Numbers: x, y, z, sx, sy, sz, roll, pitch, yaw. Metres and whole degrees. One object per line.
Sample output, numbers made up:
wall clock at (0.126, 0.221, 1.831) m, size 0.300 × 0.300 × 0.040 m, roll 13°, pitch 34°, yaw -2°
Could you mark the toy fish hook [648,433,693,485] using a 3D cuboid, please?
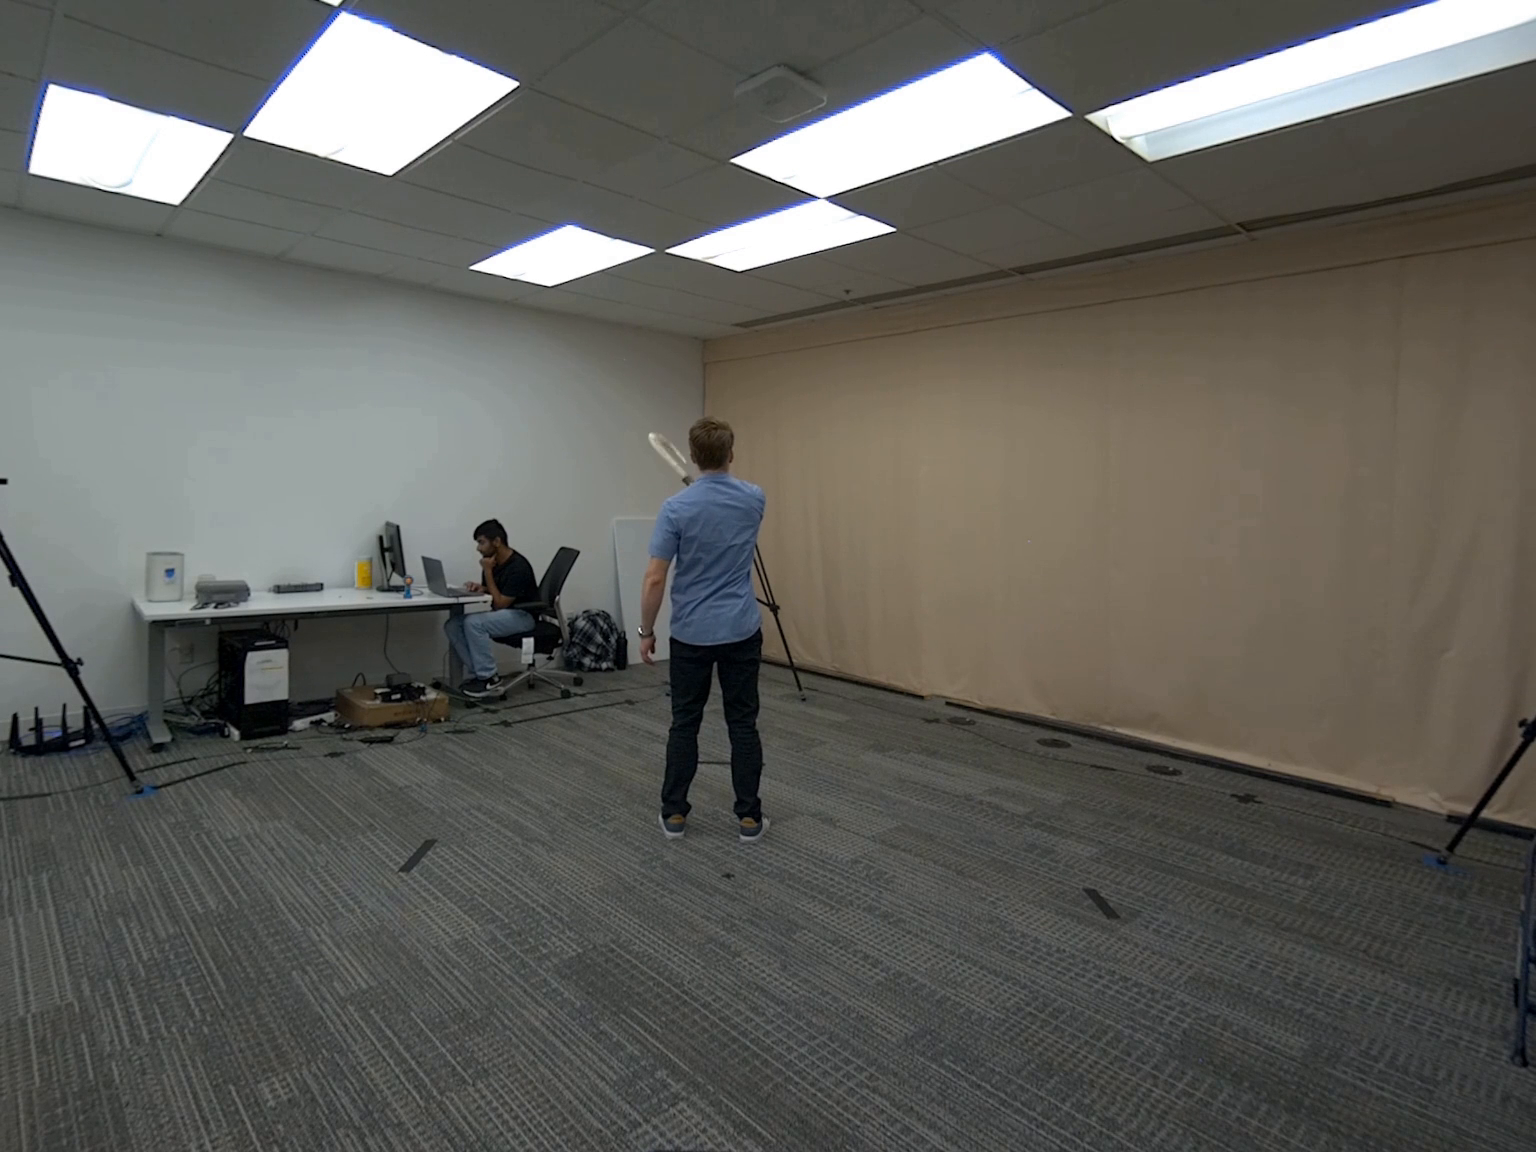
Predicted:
toy fish hook at (-0.427, -0.503, 4.137) m, size 0.048 × 0.515 × 0.220 m, roll -43°, pitch -17°, yaw 22°
